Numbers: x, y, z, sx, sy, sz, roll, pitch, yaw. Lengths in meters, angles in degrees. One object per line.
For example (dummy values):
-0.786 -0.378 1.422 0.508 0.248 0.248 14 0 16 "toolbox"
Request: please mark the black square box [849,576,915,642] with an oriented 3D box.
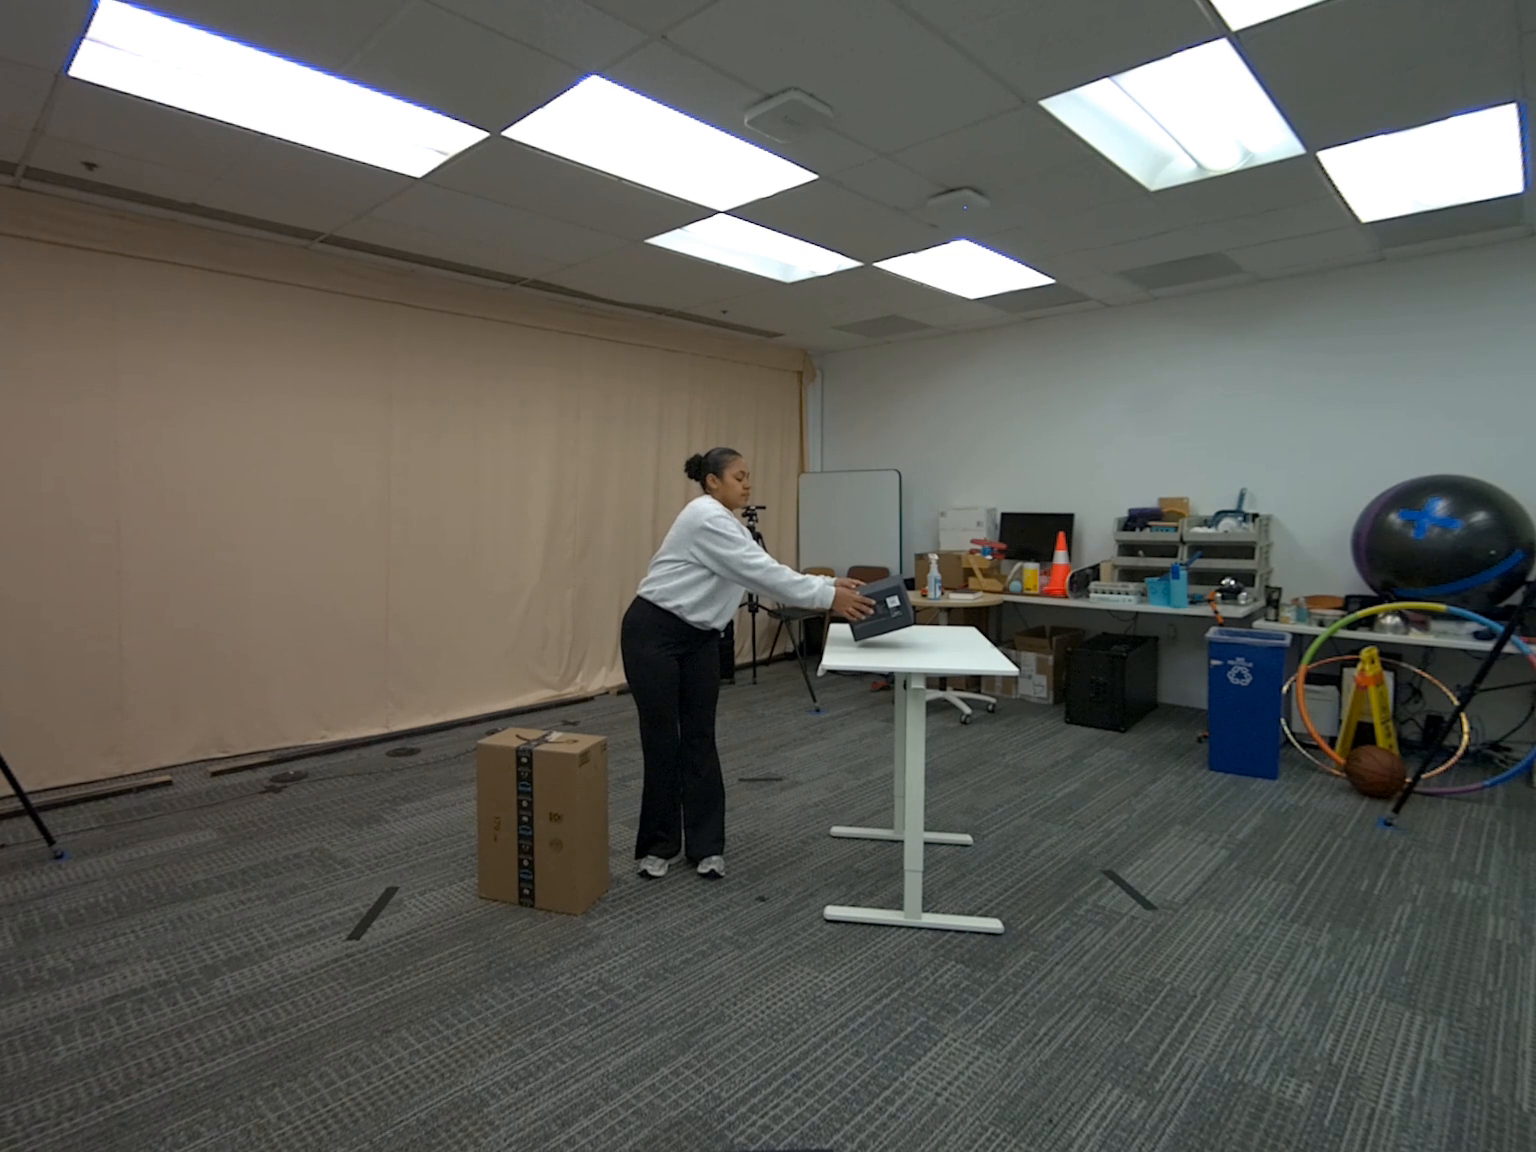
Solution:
0.405 0.114 3.052 0.219 0.155 0.227 -17 5 10 "black square box"
